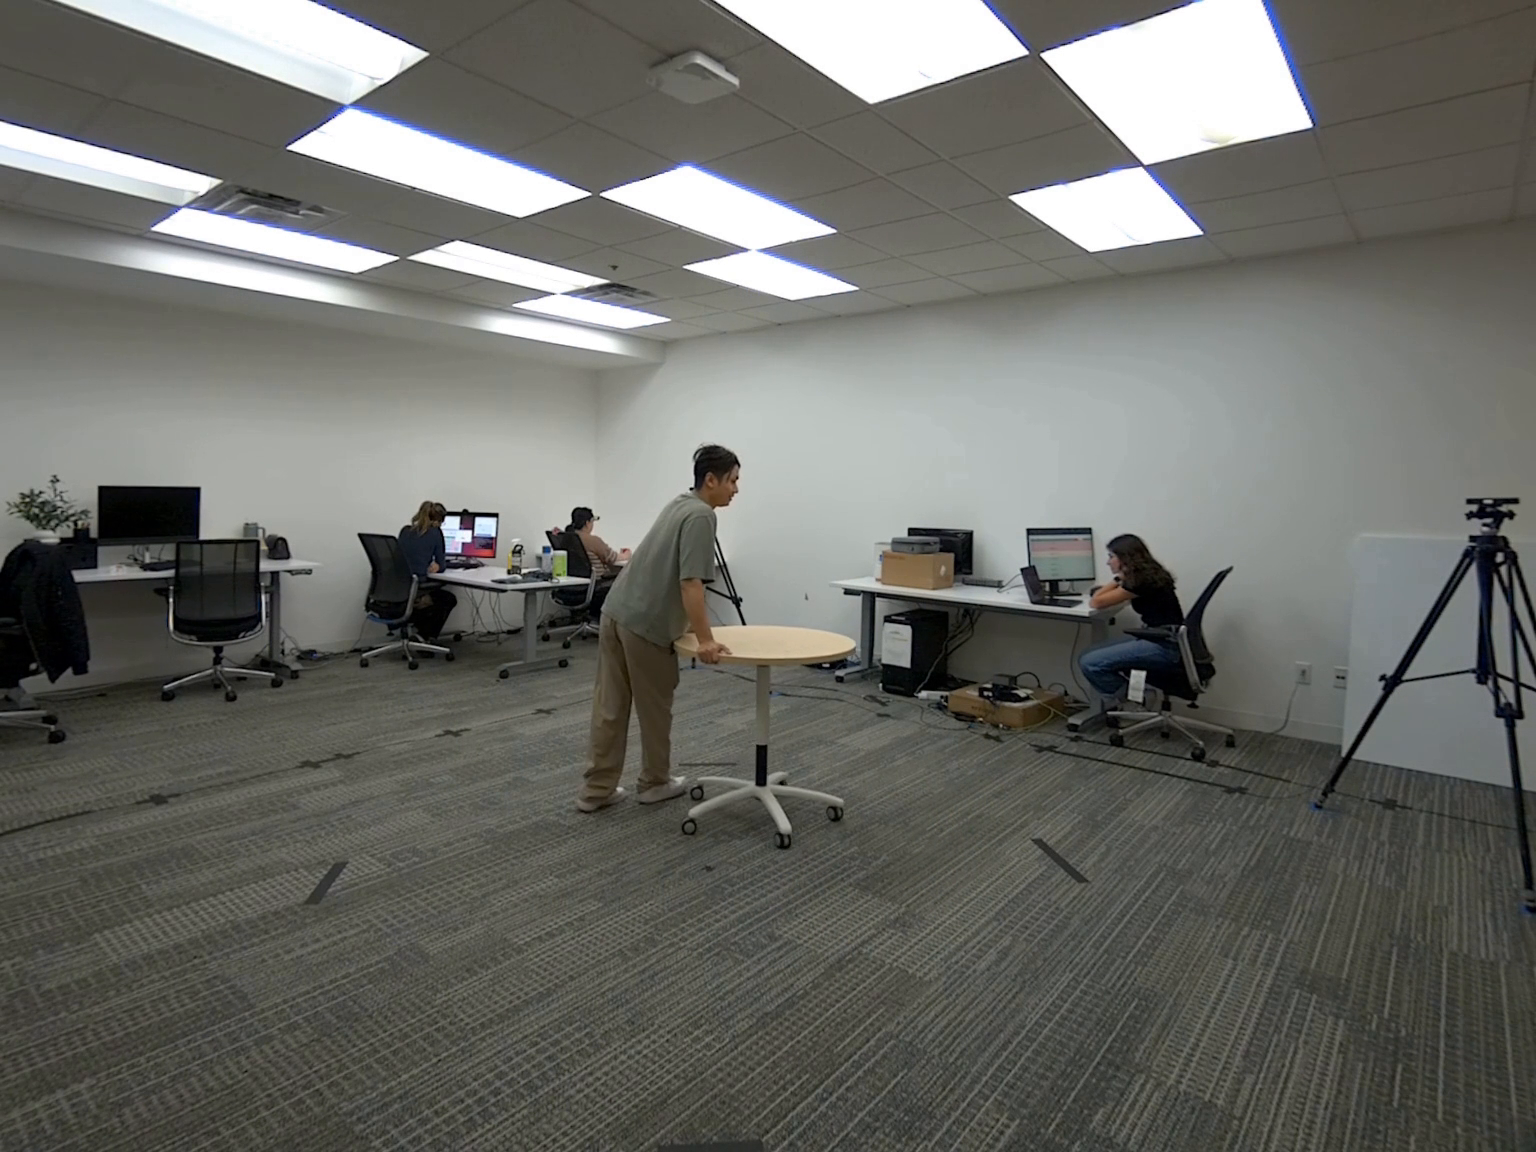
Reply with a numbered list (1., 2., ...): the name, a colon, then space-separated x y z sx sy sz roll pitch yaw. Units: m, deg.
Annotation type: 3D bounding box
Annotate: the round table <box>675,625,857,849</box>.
1. round table: -0.035 0.645 3.575 0.784 0.784 0.789 0 4 -2
